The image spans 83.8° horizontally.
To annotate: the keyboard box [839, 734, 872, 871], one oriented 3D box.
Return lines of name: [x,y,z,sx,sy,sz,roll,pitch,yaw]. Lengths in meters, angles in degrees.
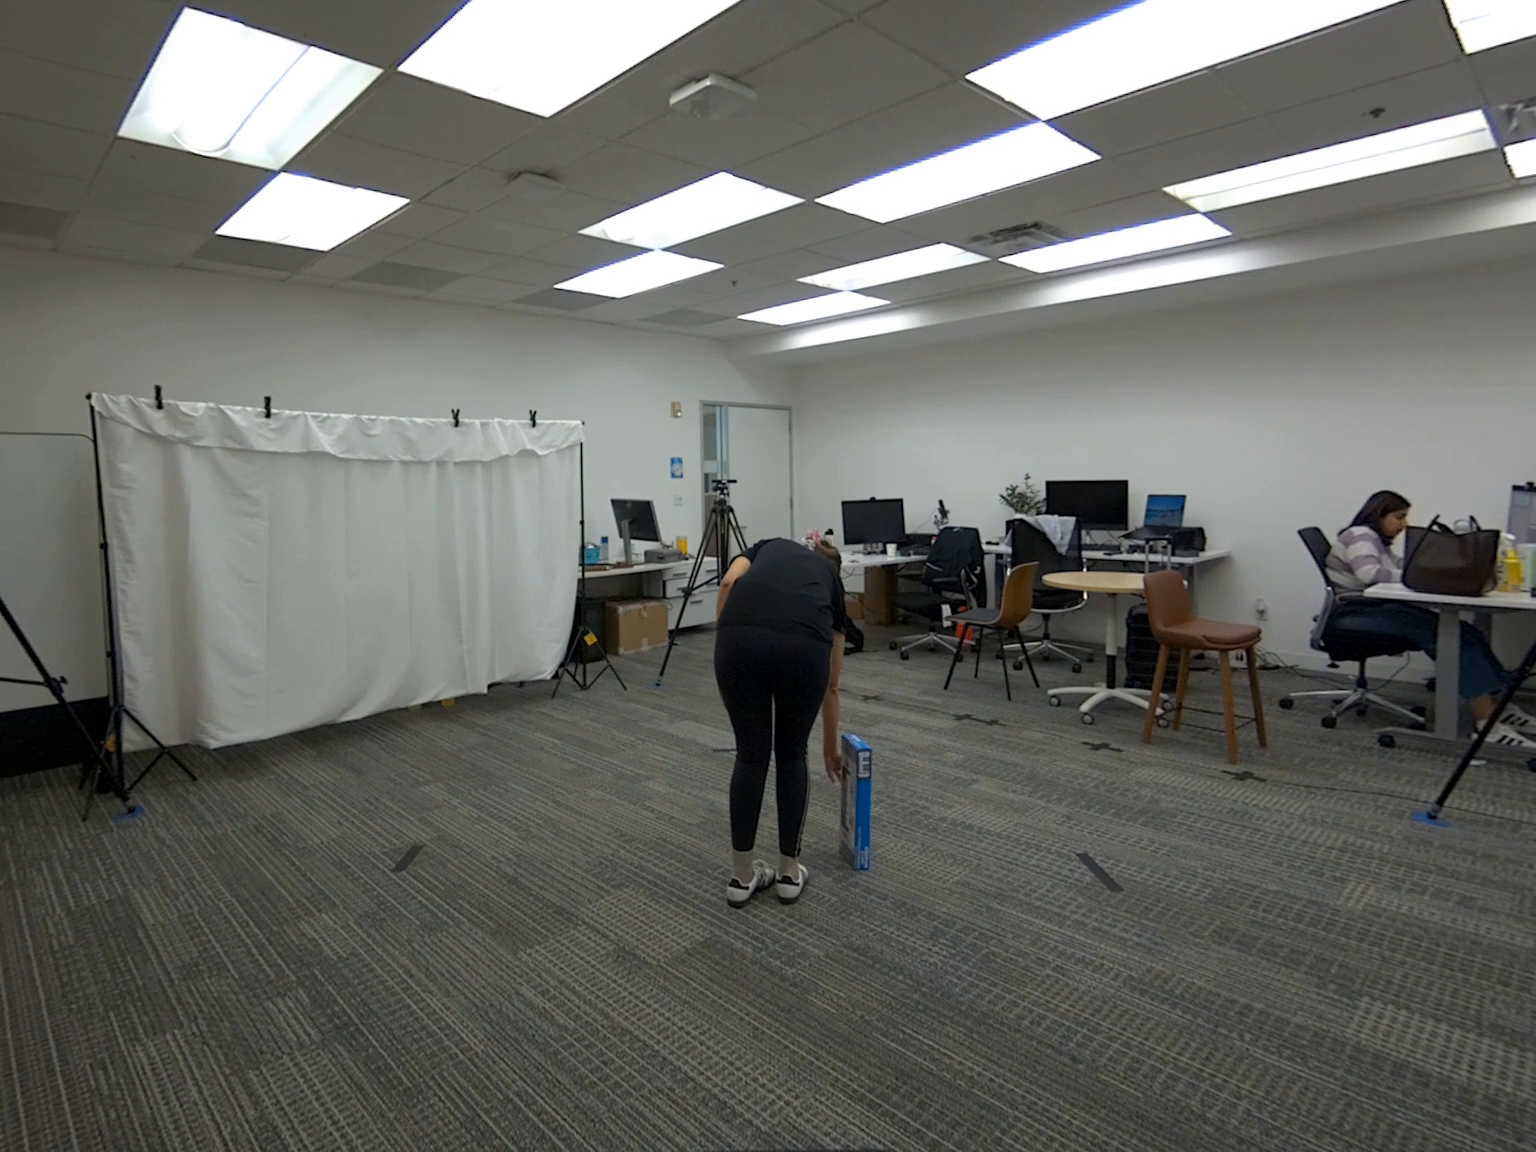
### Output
keyboard box: [0.323,0.824,3.114,0.058,0.436,0.178,2,3,-12]
